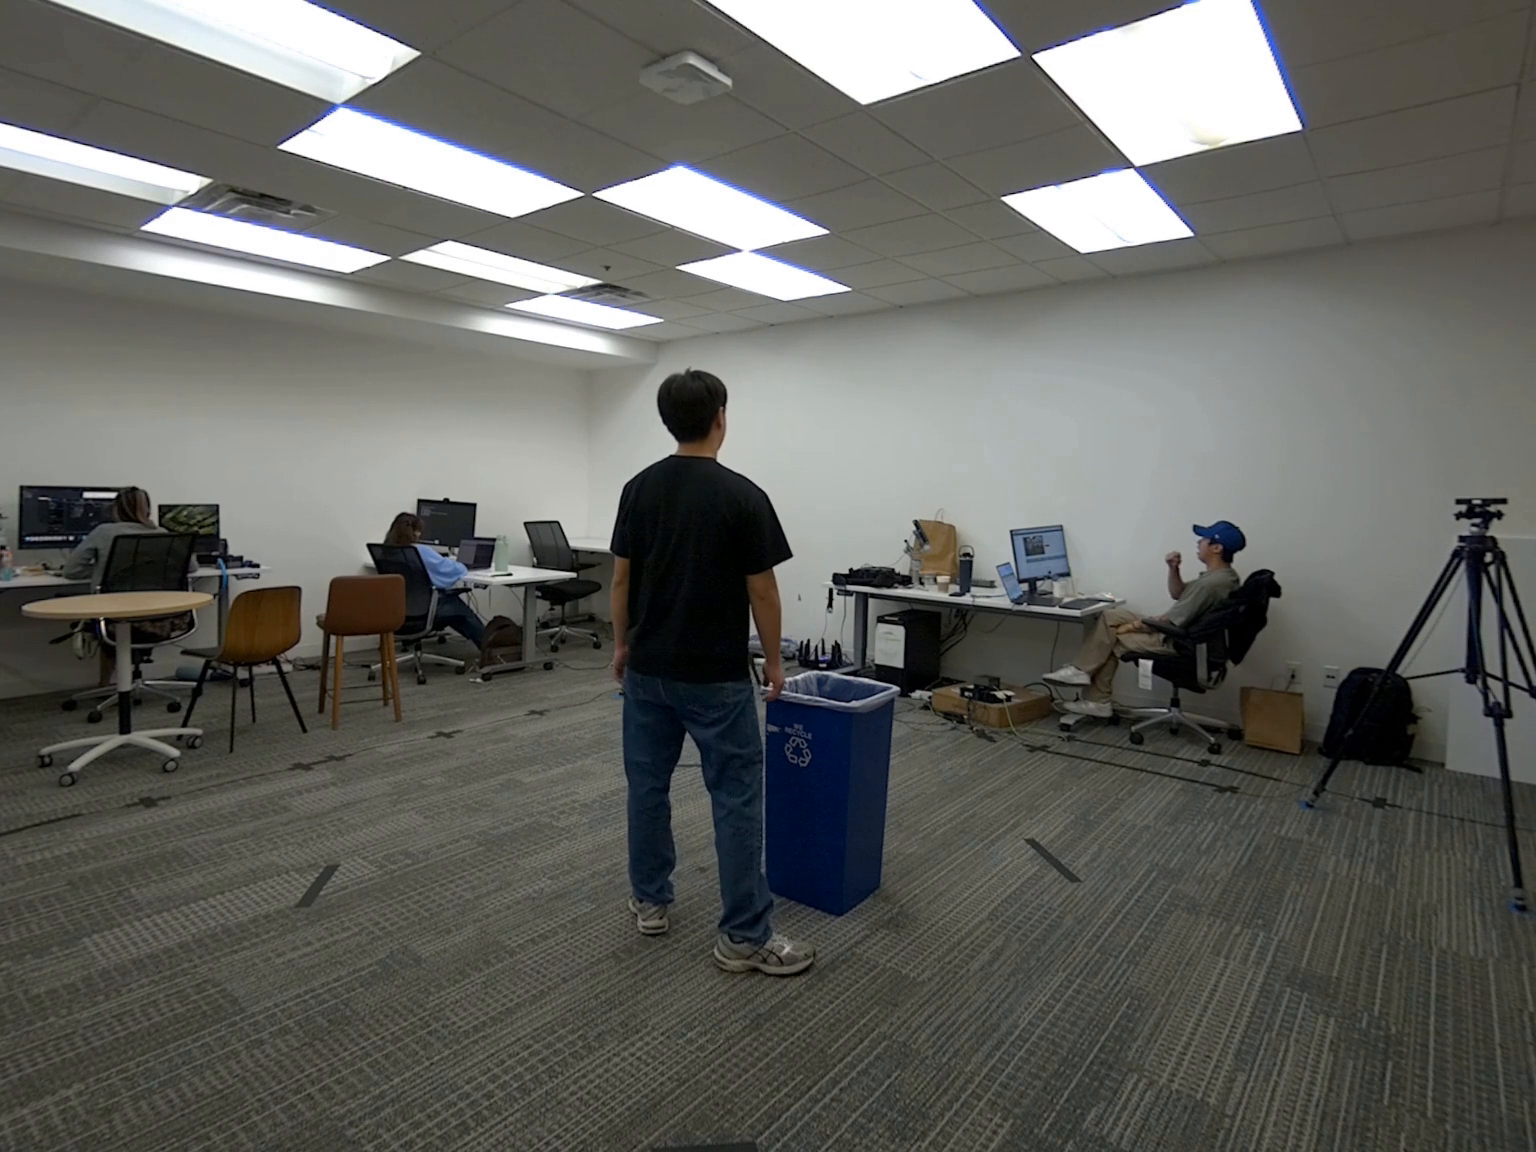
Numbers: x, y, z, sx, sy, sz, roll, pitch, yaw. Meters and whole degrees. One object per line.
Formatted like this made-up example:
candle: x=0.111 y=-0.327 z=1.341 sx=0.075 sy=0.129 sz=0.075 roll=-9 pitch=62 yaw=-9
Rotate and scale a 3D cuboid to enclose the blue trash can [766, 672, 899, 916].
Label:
blue trash can: x=0.210 y=0.733 z=2.971 sx=0.386 sy=0.711 sz=0.367 roll=4 pitch=4 yaw=34
